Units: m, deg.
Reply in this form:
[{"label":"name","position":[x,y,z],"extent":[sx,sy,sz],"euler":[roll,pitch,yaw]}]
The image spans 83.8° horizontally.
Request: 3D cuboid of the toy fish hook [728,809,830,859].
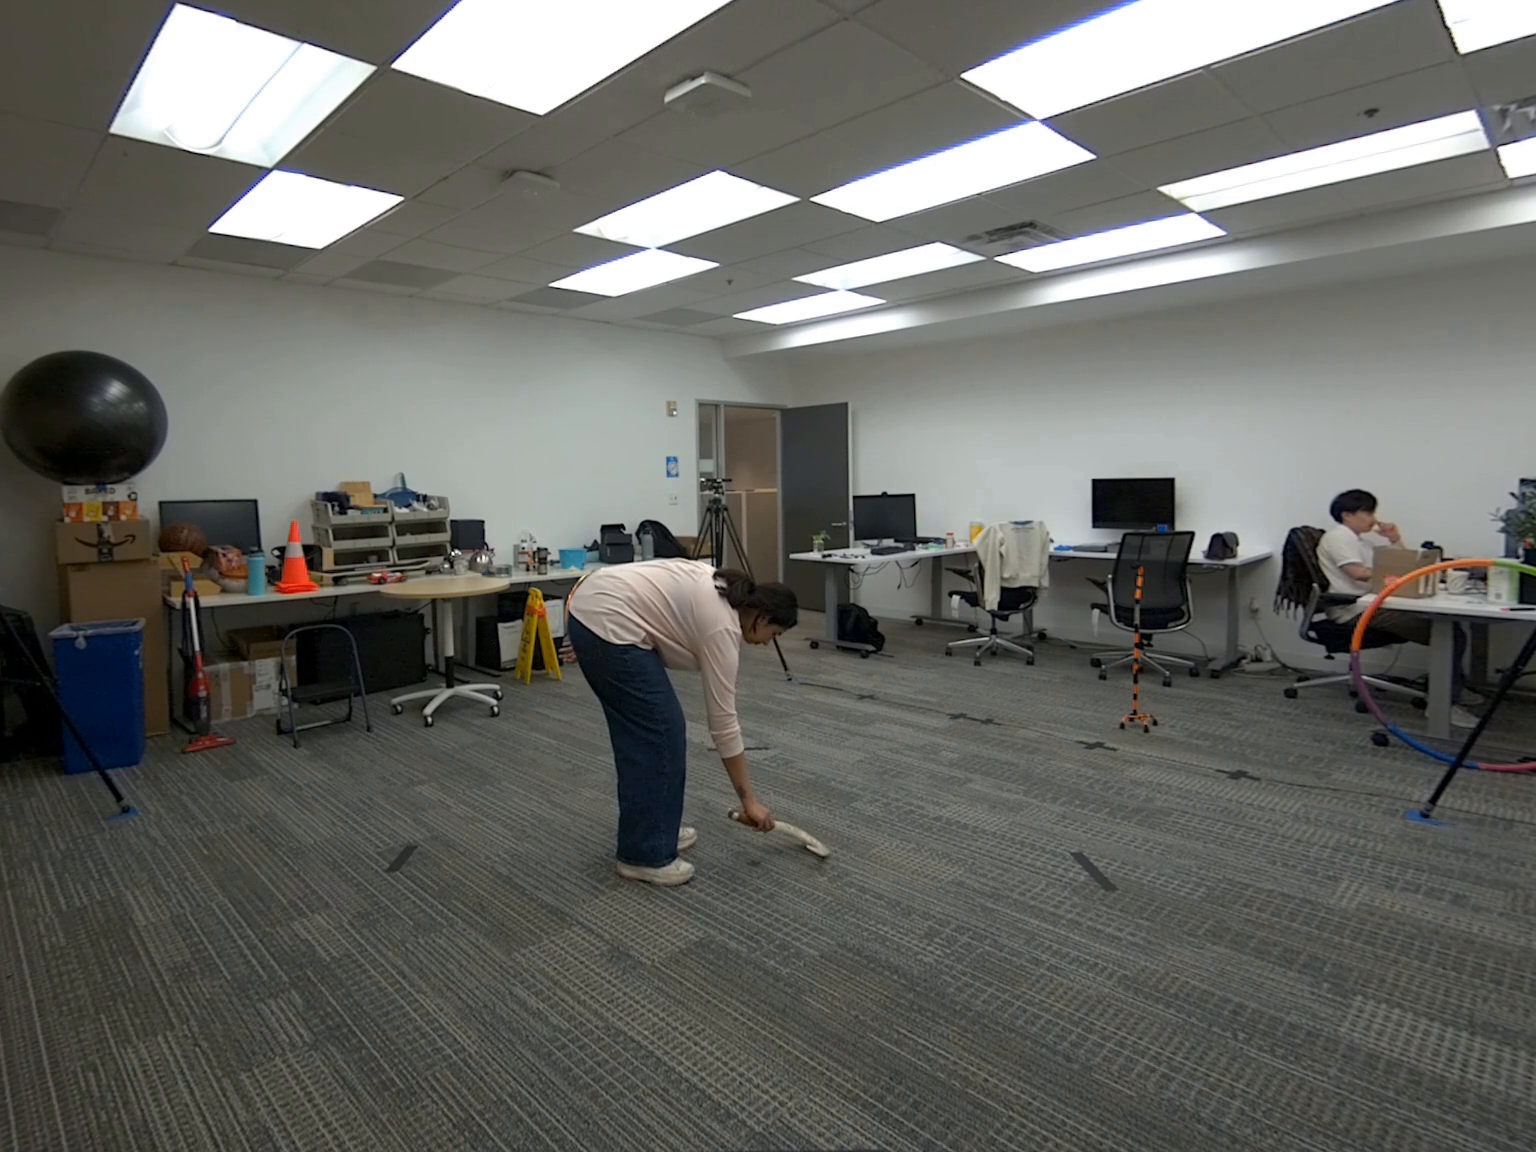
[{"label":"toy fish hook","position":[0.044,0.909,3.044],"extent":[0.232,0.048,0.487],"euler":[16,-11,46]}]
